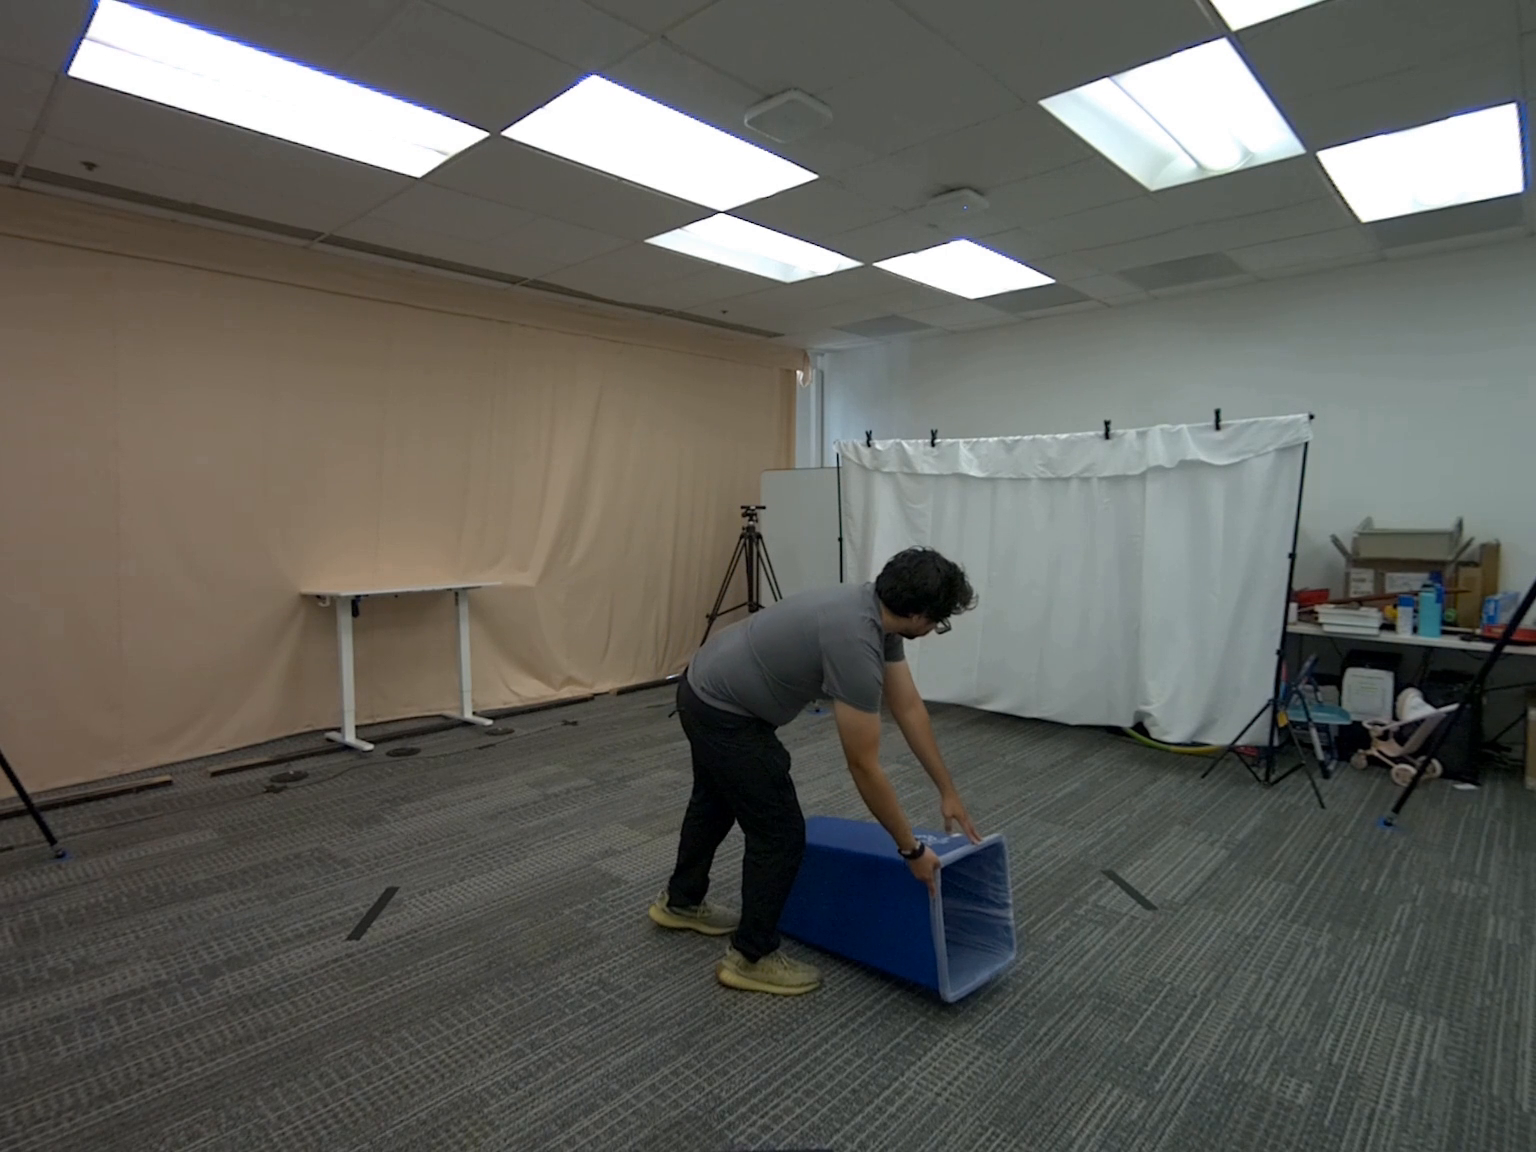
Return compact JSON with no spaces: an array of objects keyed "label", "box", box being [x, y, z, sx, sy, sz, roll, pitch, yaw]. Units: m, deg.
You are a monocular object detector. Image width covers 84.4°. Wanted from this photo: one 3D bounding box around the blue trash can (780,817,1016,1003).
[{"label":"blue trash can","box":[0.345,0.972,2.609,0.366,0.375,0.735,-1,-3,-43]}]
